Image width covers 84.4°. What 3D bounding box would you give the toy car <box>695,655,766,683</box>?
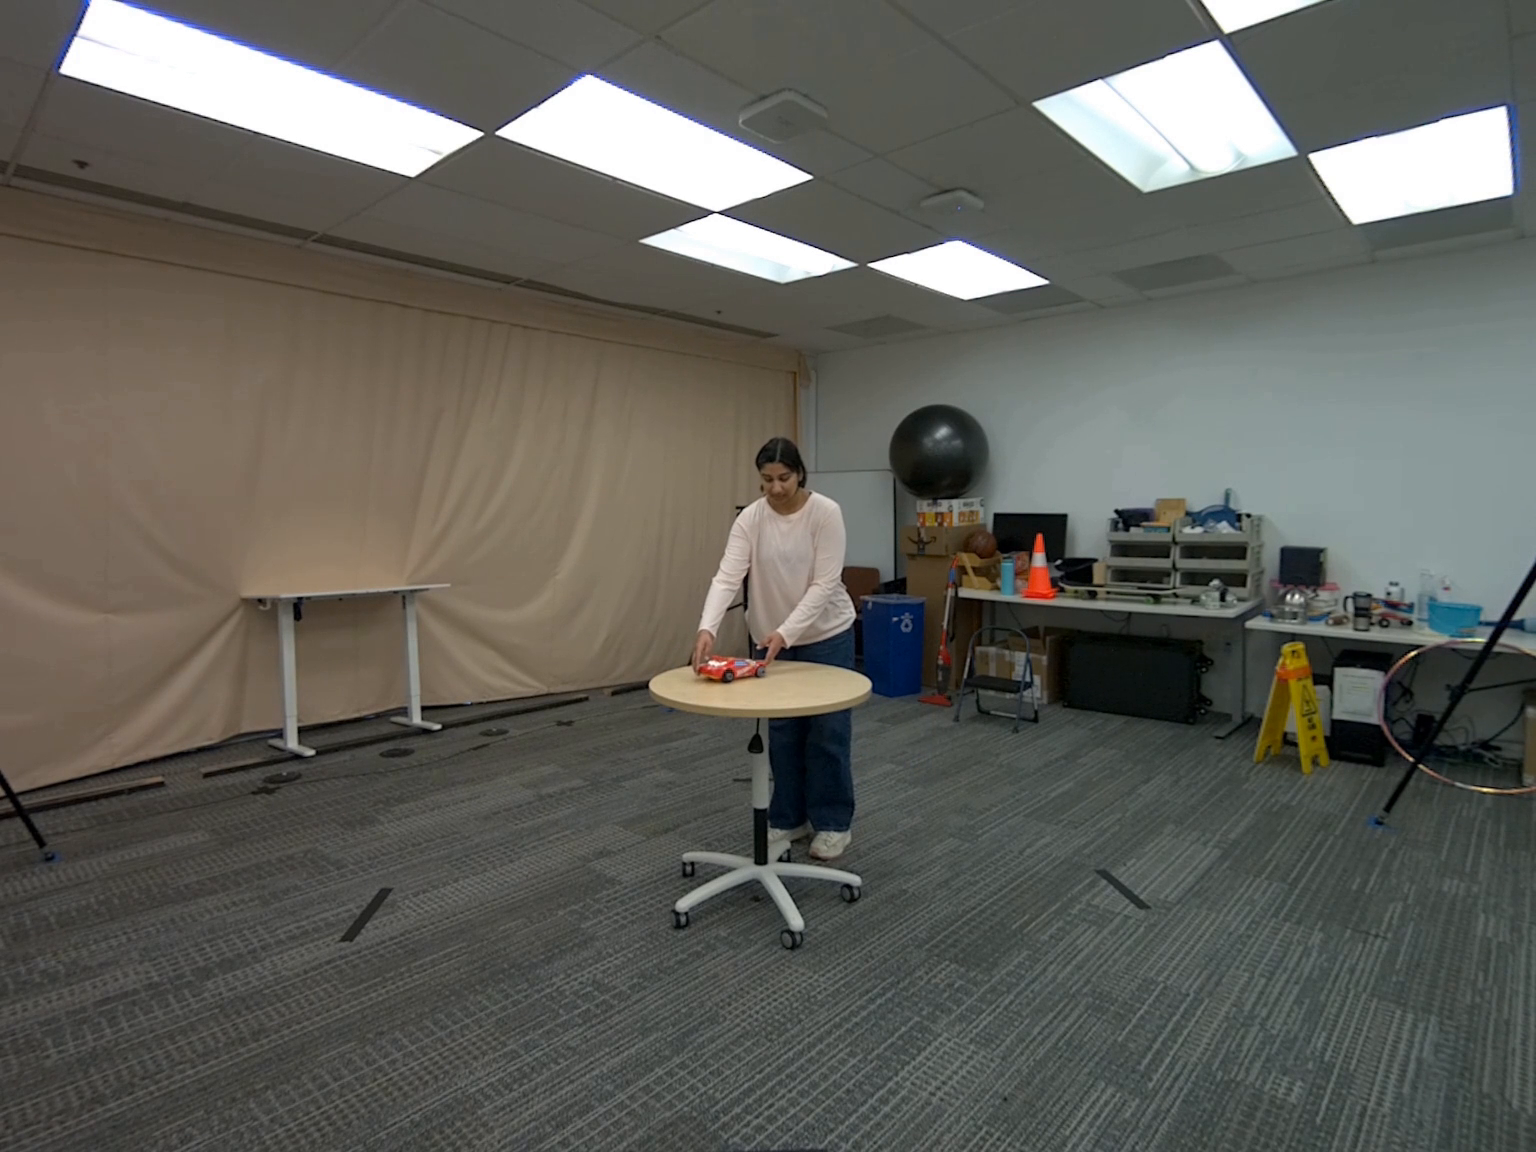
[{"bbox_3d":[-0.127,0.331,2.968,0.246,0.083,0.134,9,-4,-36],"label":"toy car"}]
